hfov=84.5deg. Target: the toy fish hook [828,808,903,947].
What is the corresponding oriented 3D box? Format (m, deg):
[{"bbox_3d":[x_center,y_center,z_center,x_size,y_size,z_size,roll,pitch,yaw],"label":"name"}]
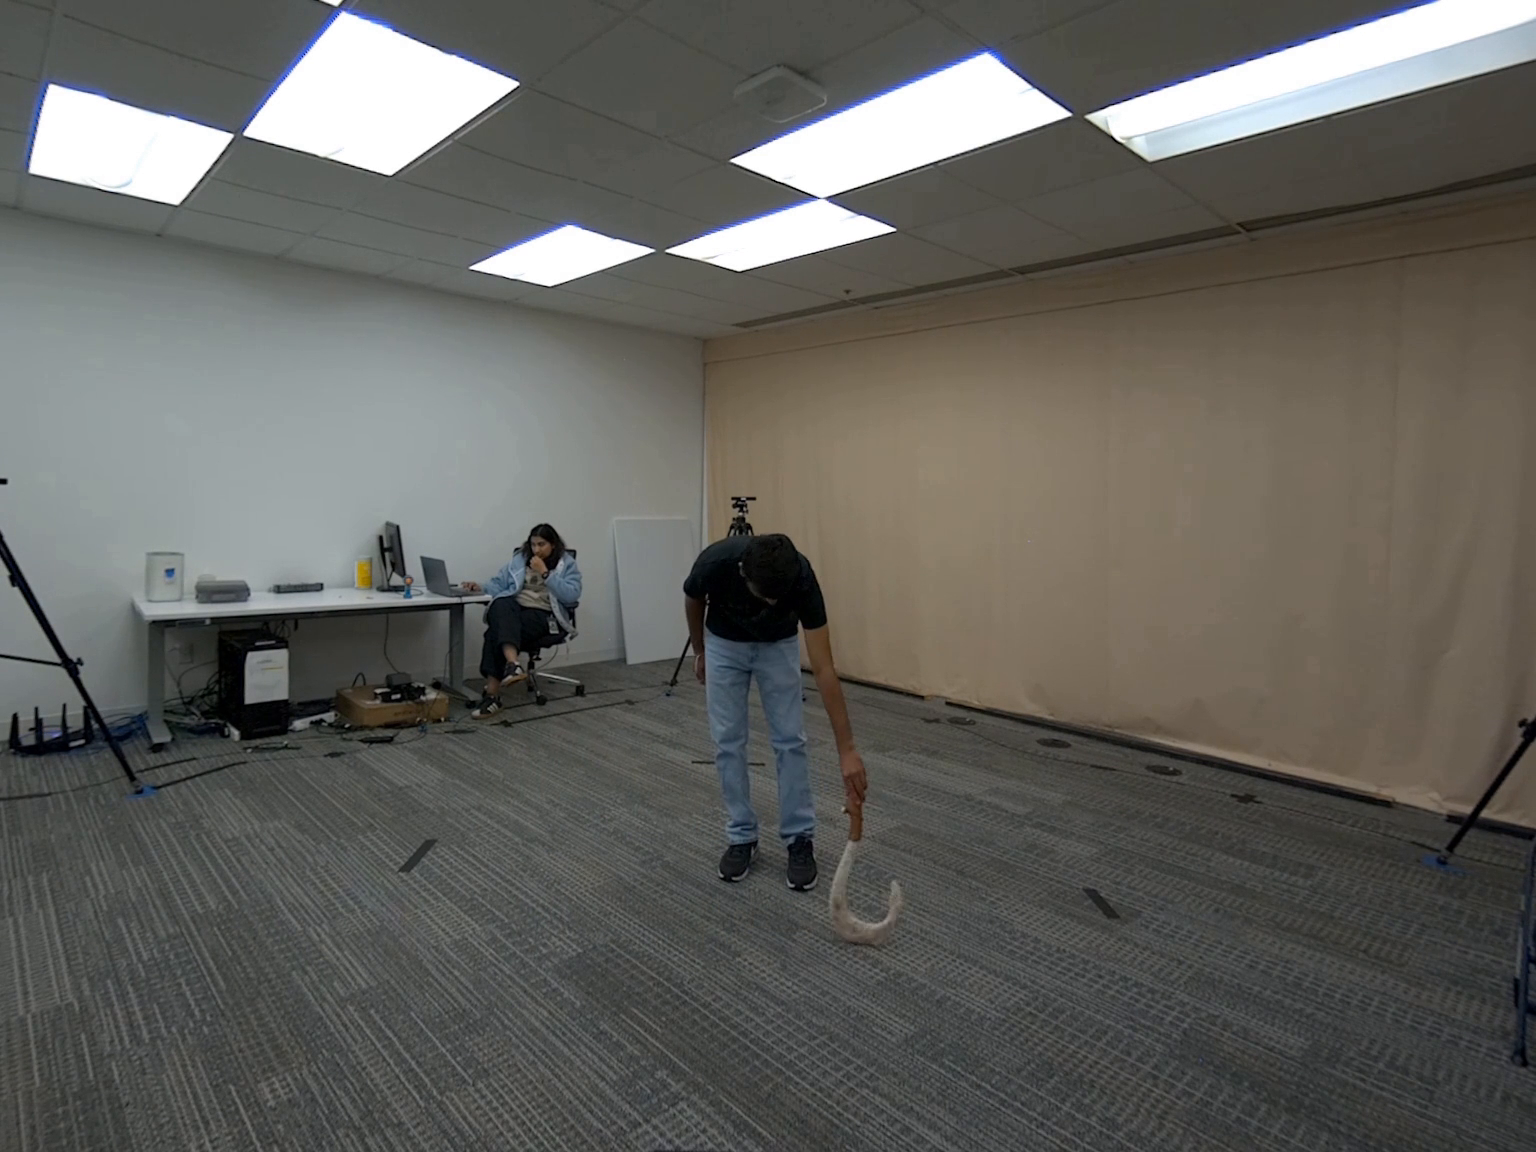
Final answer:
[{"bbox_3d":[0.307,0.909,2.696,0.226,0.510,0.048,4,-9,7],"label":"toy fish hook"}]
